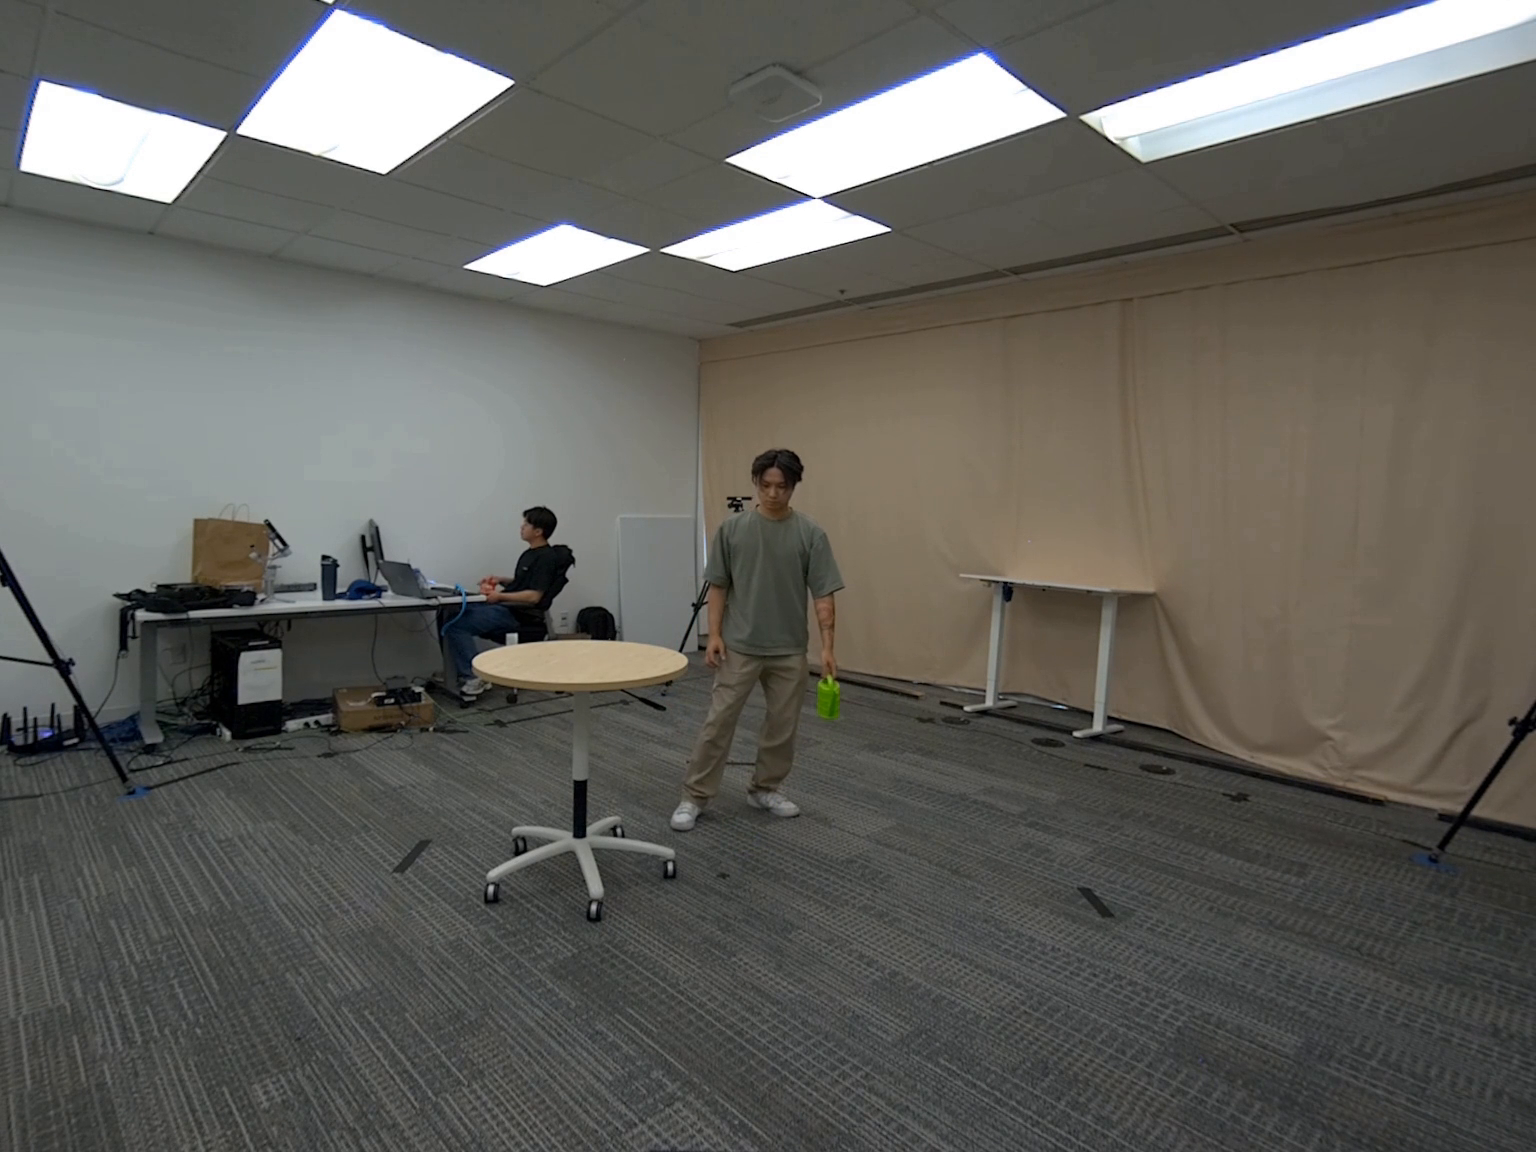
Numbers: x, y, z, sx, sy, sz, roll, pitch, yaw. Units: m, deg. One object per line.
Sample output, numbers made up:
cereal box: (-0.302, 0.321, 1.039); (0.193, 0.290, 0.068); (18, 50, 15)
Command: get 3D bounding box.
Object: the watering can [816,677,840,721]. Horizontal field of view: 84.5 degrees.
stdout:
watering can: (0.239, 0.512, 3.522); (0.099, 0.175, 0.278); (2, 12, 9)
